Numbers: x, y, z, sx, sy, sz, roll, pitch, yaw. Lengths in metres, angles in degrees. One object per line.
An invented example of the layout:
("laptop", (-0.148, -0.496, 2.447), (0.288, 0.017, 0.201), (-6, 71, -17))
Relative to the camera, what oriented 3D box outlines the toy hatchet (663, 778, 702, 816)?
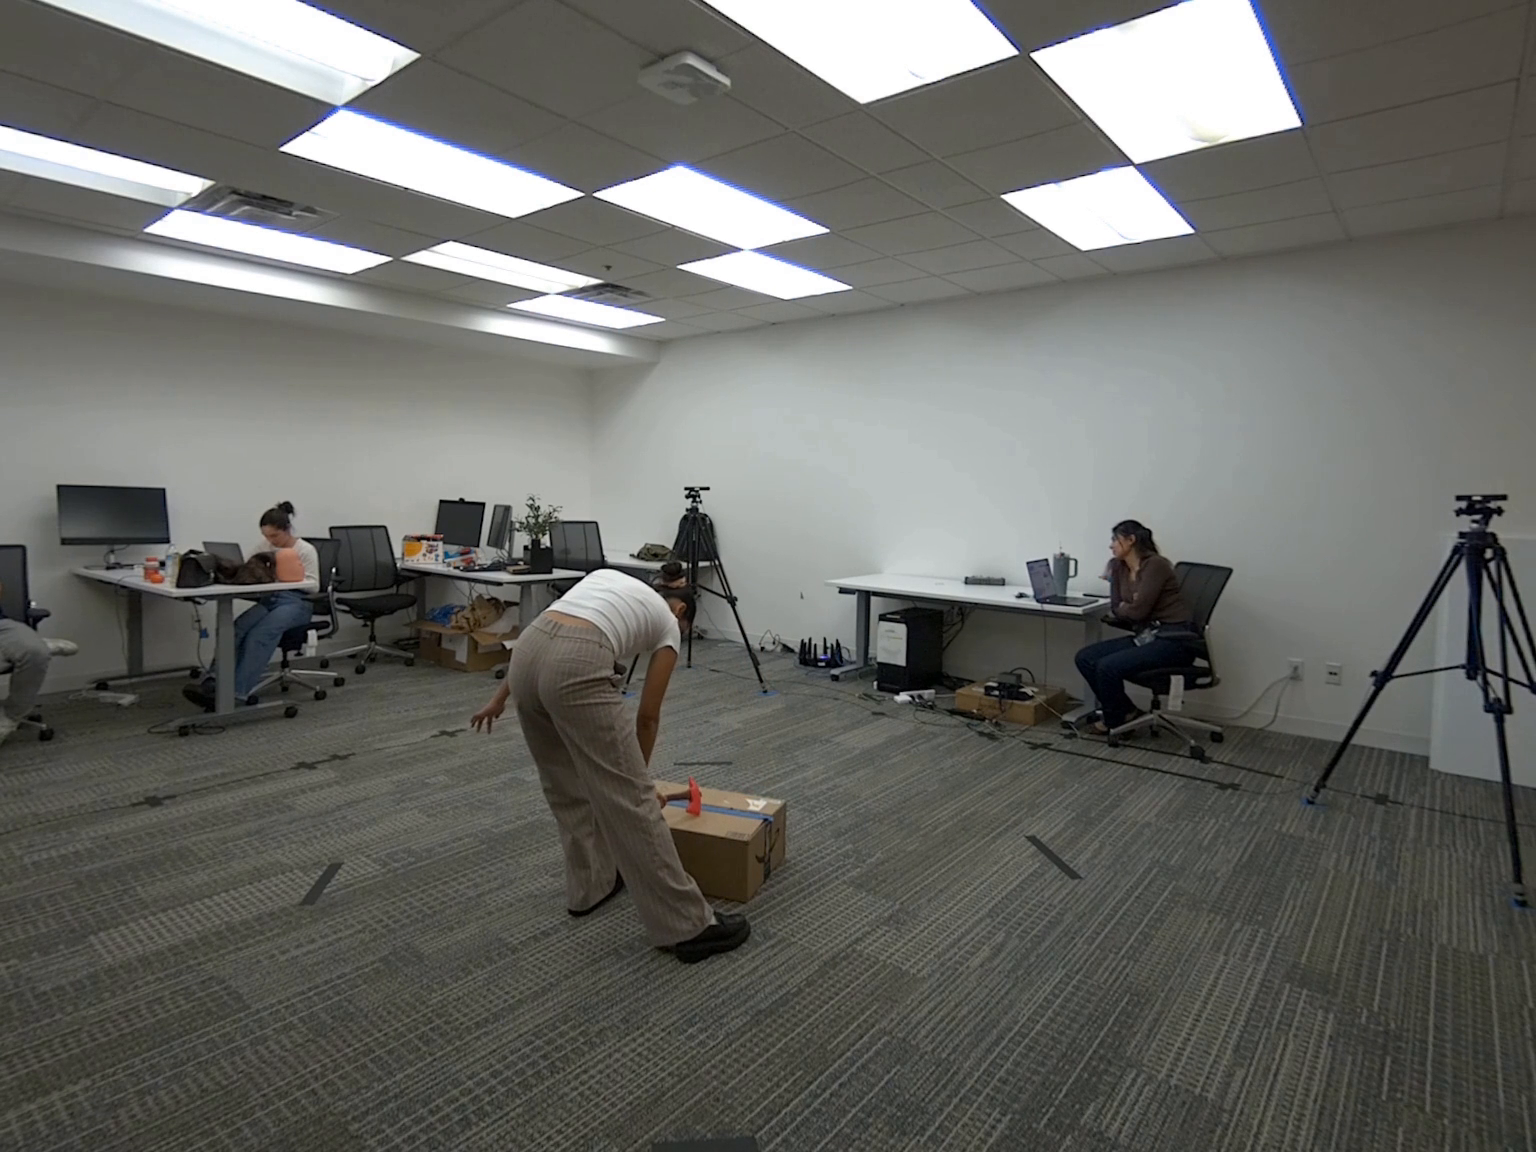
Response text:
("toy hatchet", (-0.334, 0.817, 2.987), (0.030, 0.133, 0.264), (-36, -11, 40))
